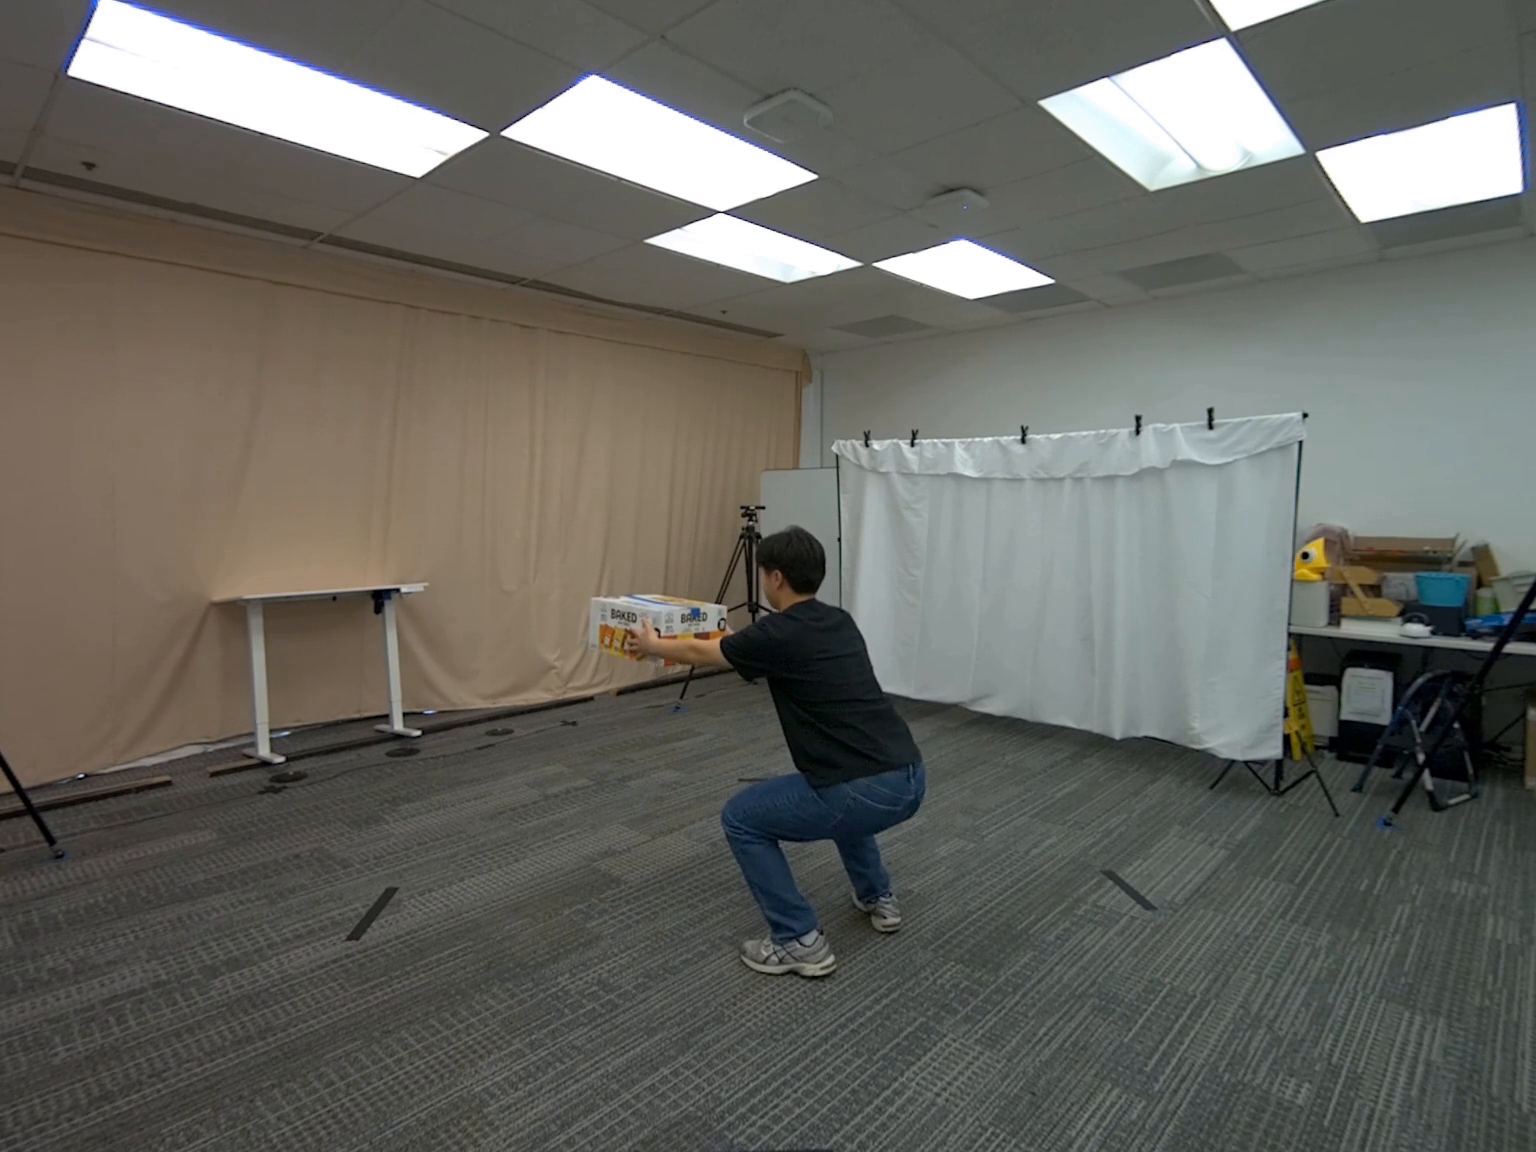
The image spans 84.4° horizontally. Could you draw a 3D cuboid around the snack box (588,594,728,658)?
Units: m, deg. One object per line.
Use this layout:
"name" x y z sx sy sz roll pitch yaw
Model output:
"snack box" -0.420 0.199 3.223 0.419 0.205 0.329 6 5 42
